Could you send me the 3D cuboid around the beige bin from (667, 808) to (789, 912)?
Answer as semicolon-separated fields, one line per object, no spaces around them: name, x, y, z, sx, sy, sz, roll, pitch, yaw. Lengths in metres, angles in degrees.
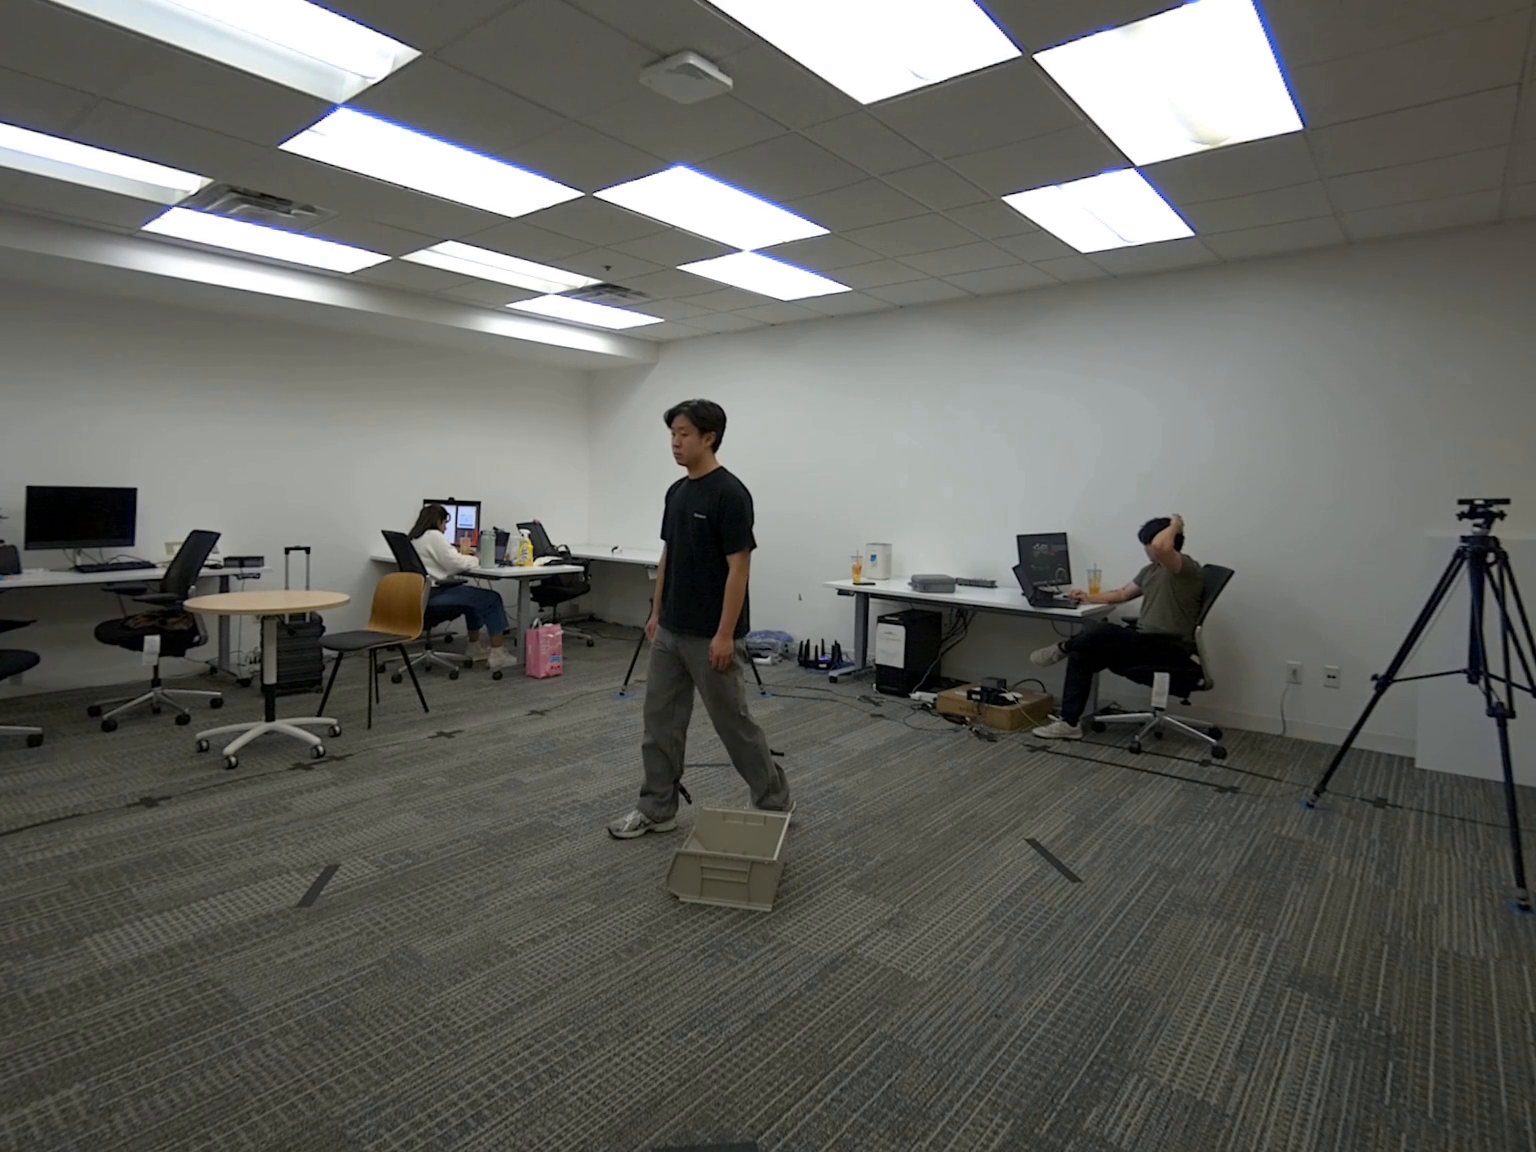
beige bin;-0.144;0.992;3.025;0.382;0.188;0.419;2;5;9
